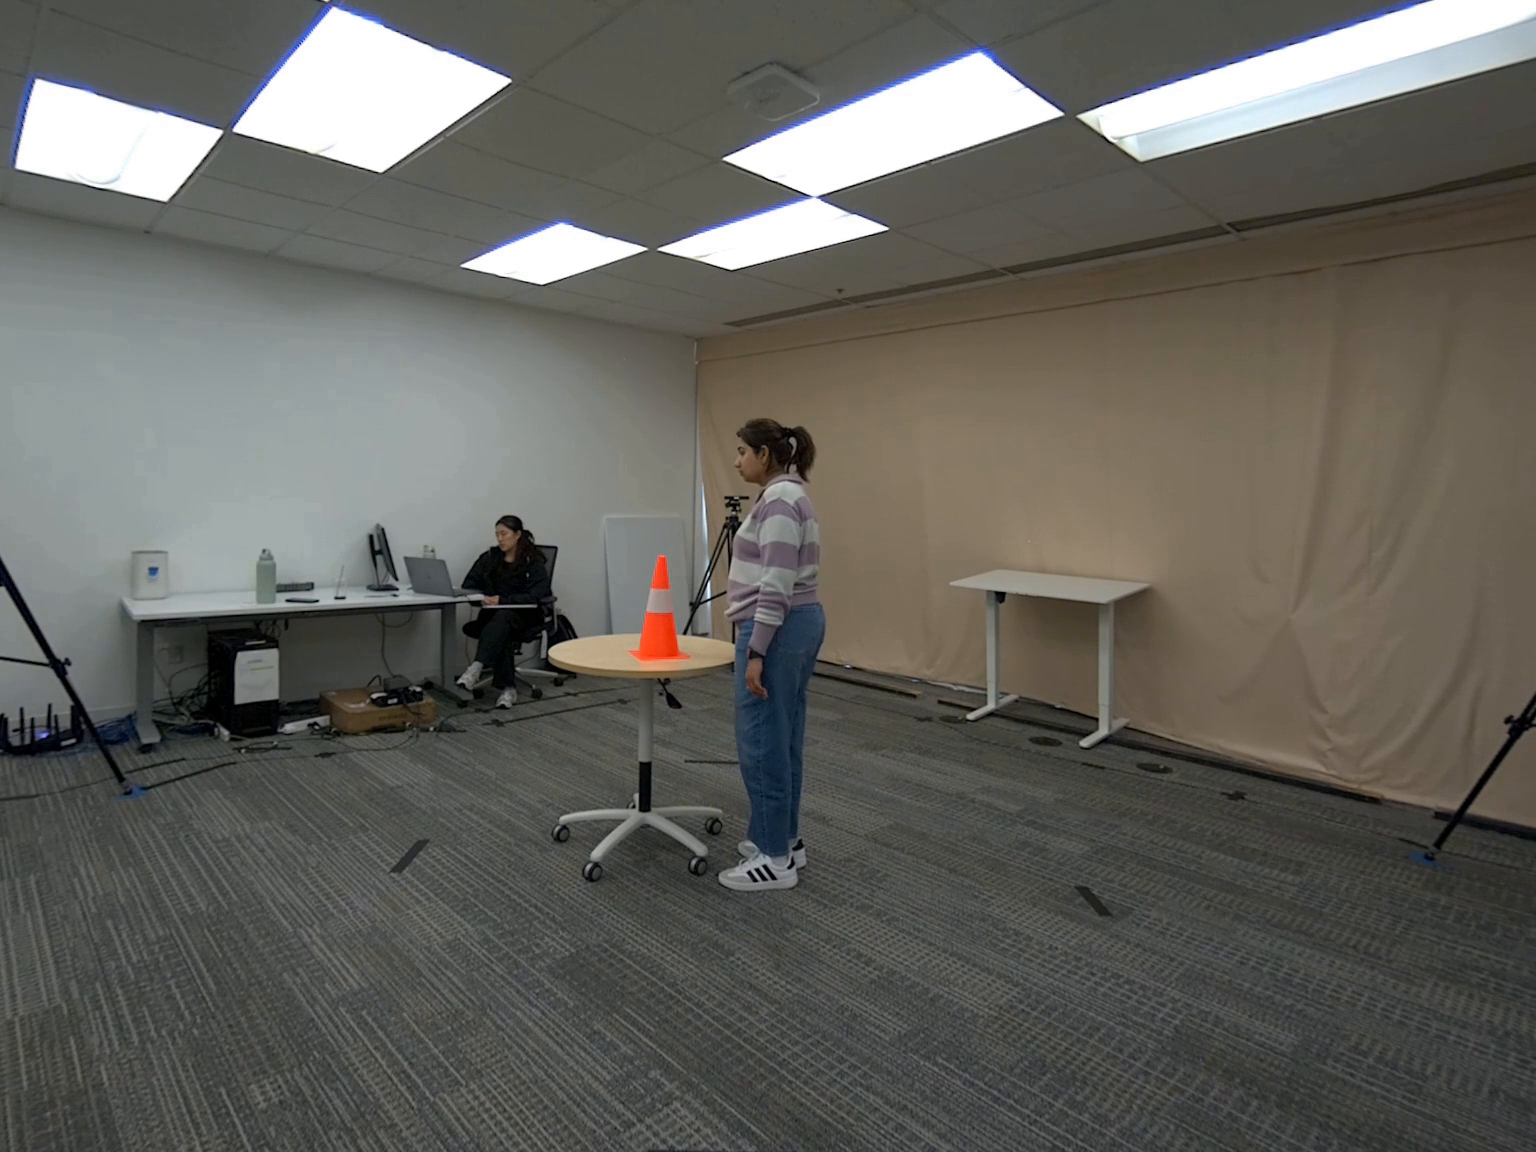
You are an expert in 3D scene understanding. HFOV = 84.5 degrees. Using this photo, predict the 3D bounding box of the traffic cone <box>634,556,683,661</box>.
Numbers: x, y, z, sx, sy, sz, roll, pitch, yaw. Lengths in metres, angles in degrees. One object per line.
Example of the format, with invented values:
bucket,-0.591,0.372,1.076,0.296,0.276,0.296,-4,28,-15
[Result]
traffic cone,-0.410,0.114,3.223,0.200,0.383,0.208,1,3,-32
